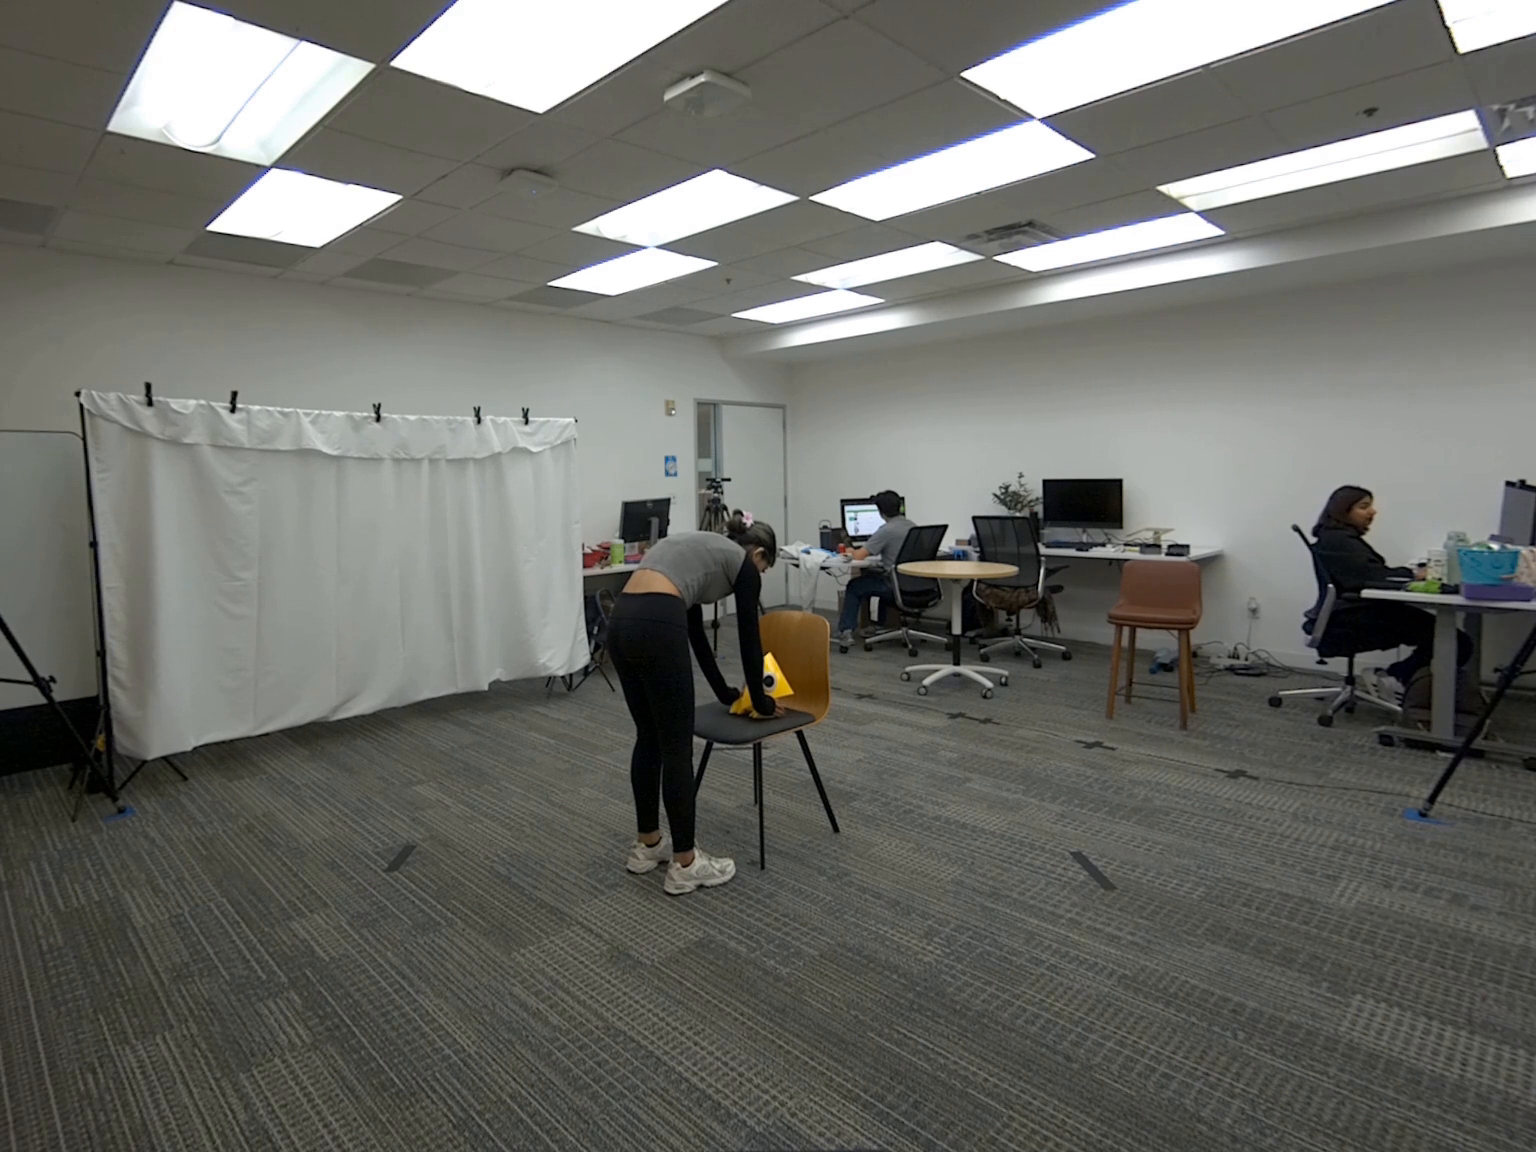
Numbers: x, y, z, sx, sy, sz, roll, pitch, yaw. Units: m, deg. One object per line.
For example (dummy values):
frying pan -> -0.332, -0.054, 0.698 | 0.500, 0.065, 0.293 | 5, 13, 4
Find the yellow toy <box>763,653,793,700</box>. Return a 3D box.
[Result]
yellow toy -> -0.022, 0.425, 3.344 | 0.211, 0.231, 0.187 | 0, 0, 45
